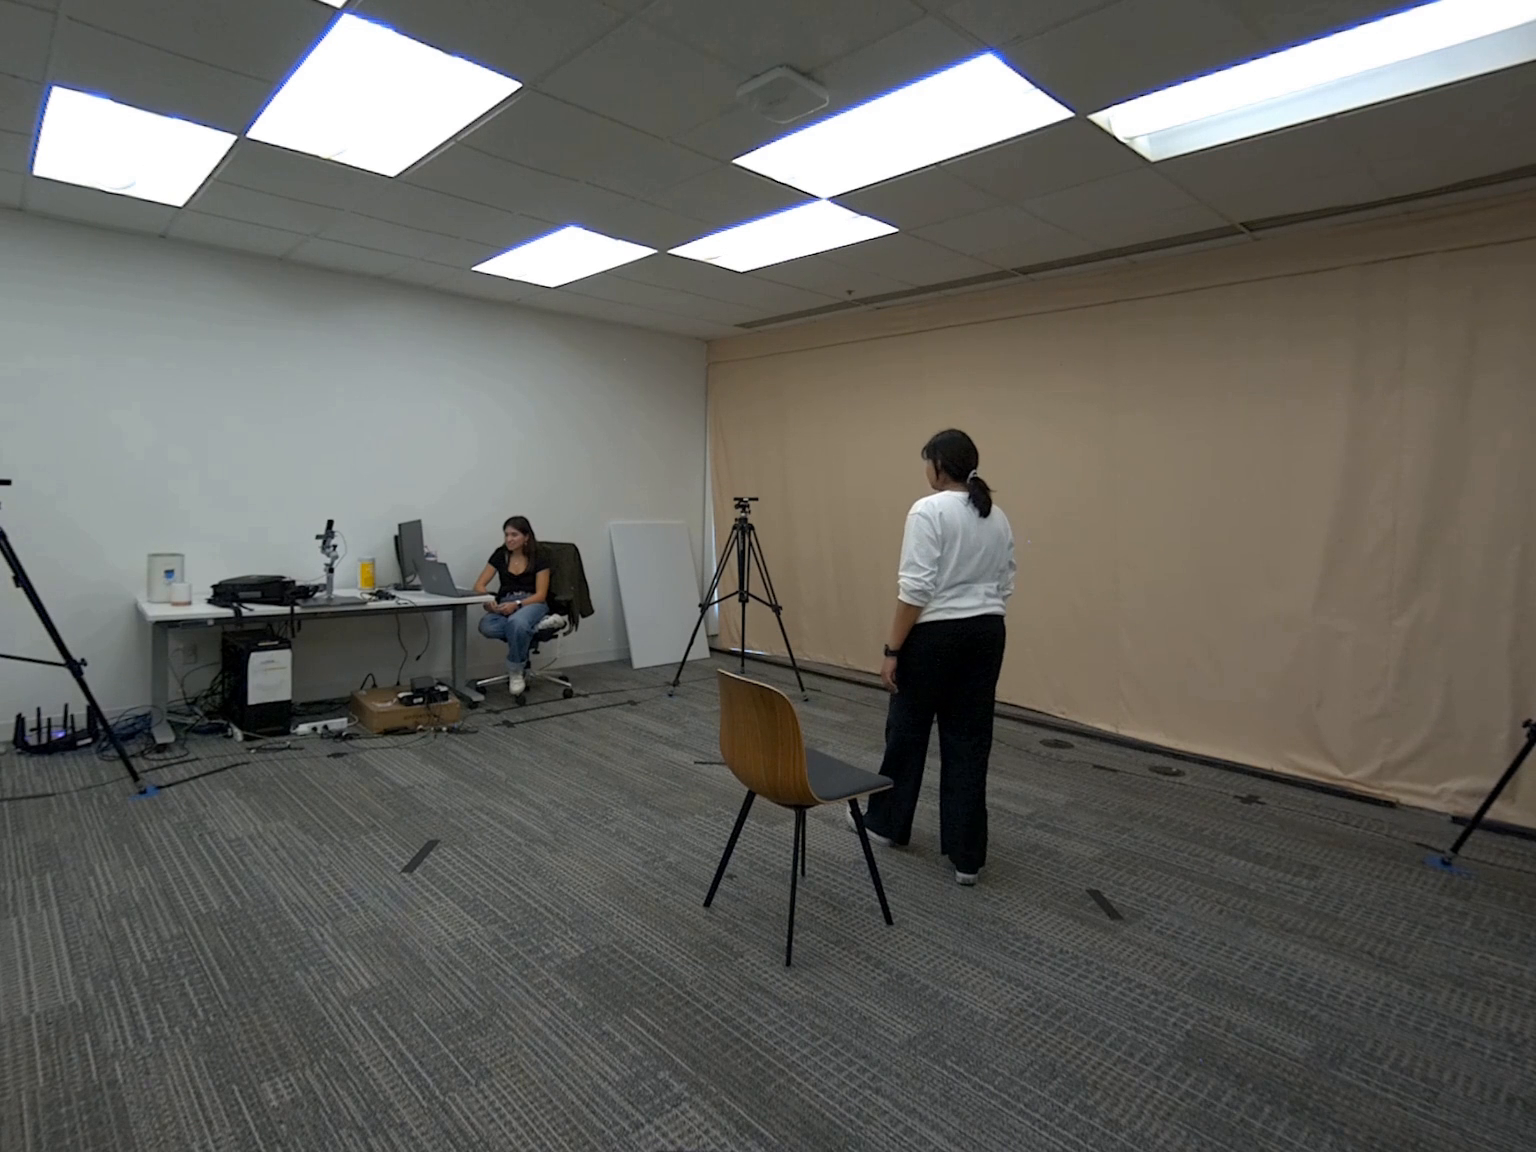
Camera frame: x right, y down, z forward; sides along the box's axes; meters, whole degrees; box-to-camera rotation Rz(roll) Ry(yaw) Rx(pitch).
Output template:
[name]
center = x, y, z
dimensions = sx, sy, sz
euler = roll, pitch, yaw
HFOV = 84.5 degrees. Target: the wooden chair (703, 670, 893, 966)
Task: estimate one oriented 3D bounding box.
[wooden chair]
center = 0.108, 0.715, 2.795
dimensions = 0.512, 0.873, 0.490
euler = -7, 7, -37
